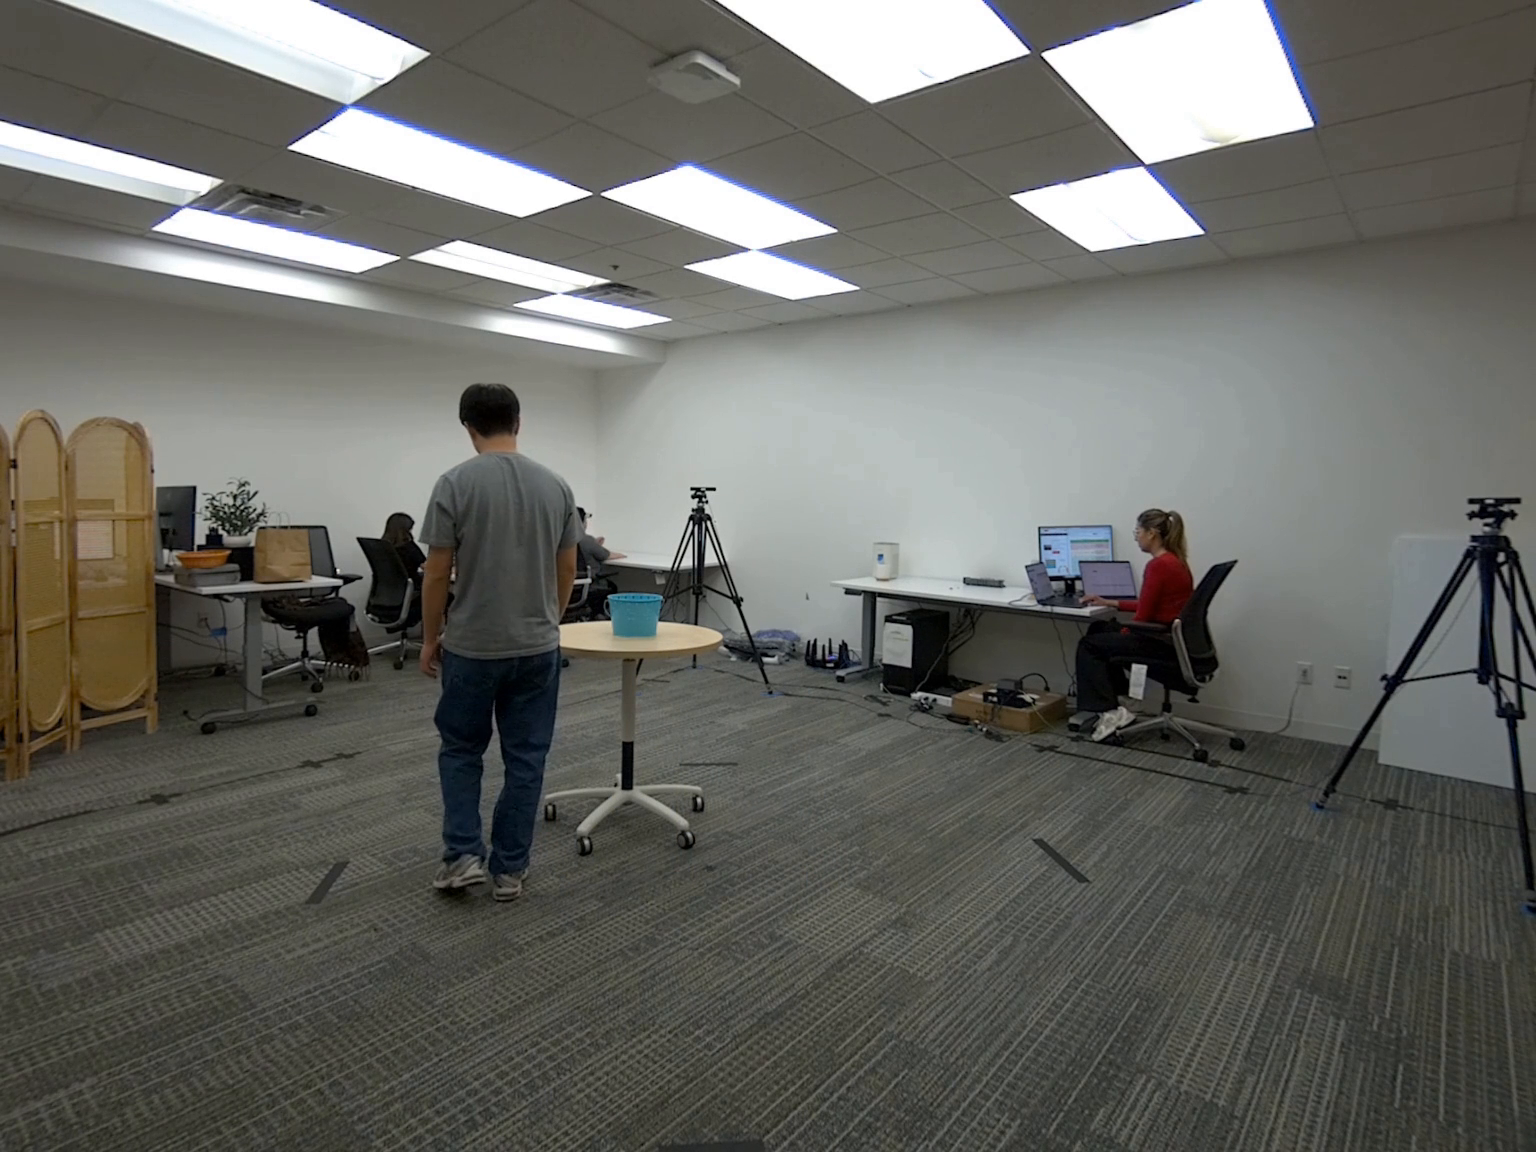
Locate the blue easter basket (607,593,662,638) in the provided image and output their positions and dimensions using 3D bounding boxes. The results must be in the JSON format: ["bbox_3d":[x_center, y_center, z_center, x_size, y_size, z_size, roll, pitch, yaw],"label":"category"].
[{"bbox_3d":[-0.567,0.162,3.535,0.243,0.155,0.245,1,4,-2],"label":"blue easter basket"}]
